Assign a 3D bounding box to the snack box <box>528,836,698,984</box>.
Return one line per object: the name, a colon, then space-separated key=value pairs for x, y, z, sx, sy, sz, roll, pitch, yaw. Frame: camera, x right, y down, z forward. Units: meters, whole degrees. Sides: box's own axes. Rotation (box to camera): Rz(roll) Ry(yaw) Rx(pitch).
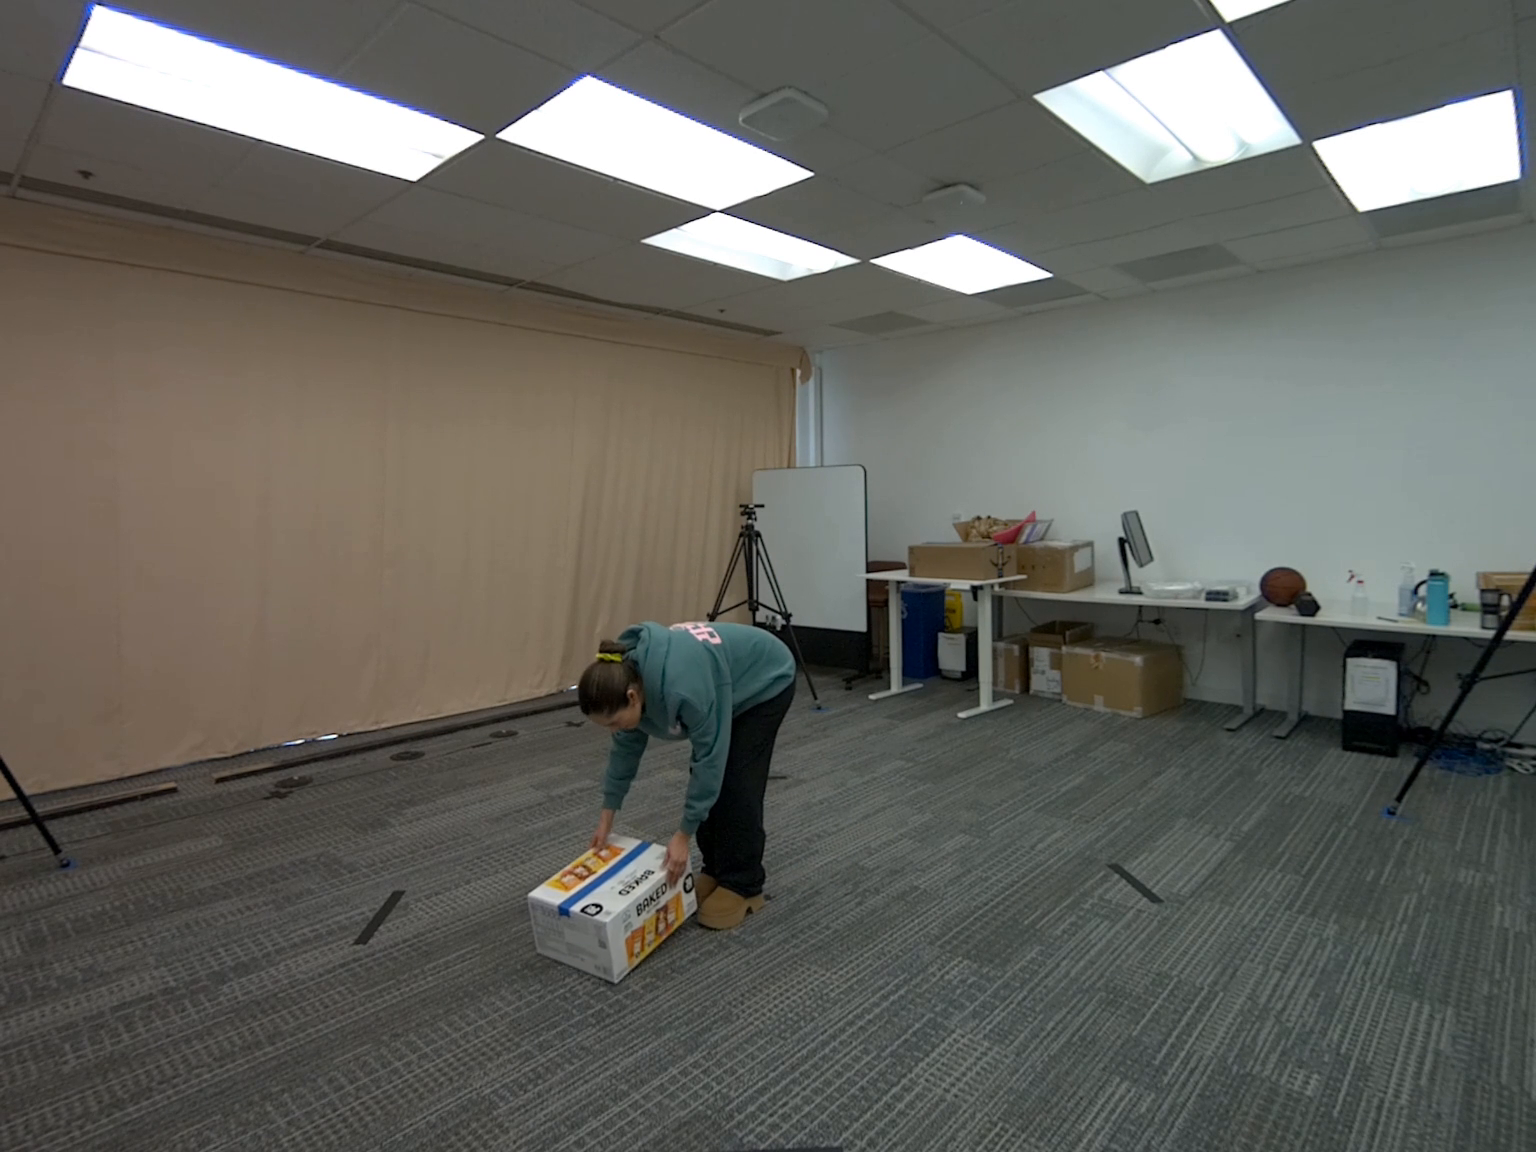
snack box: x=-0.488 y=1.035 z=2.681 sx=0.350 sy=0.204 sz=0.396 roll=0 pitch=13 yaw=34
